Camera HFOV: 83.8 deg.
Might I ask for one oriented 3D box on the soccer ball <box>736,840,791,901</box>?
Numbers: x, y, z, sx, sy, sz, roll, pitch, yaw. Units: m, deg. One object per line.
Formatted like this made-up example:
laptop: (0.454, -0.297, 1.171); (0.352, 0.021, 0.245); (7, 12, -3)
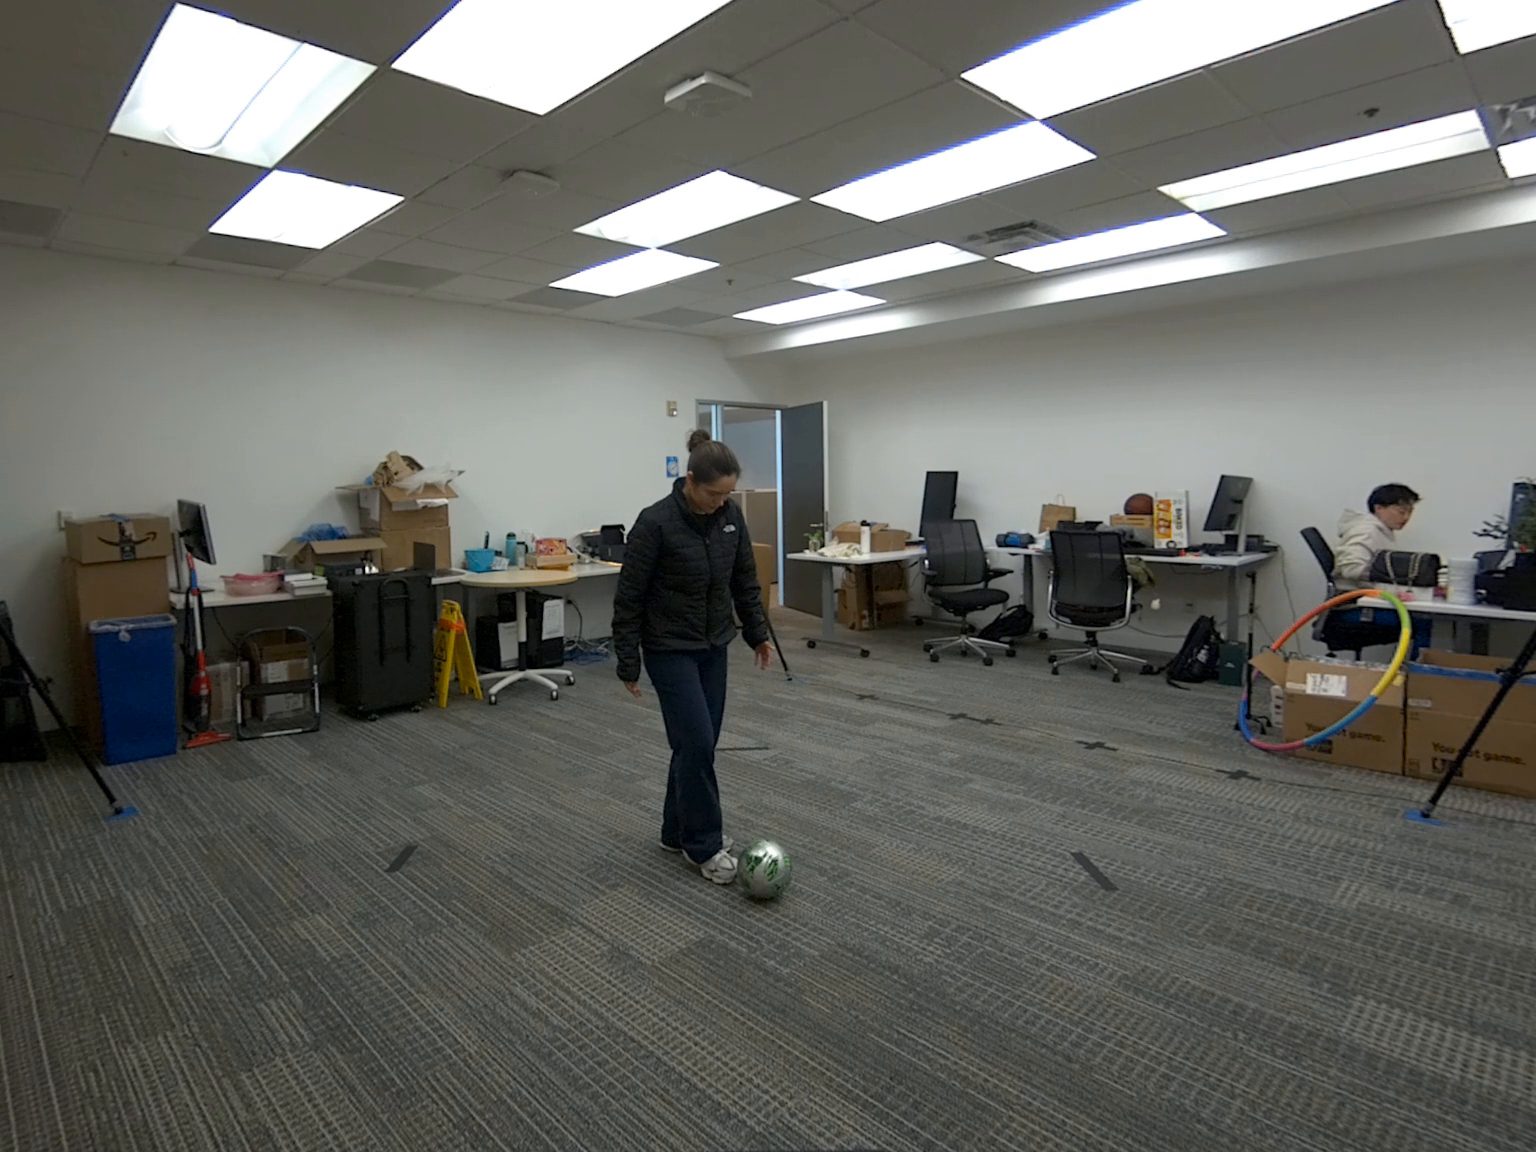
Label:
soccer ball: (-0.006, 0.975, 2.855); (0.187, 0.187, 0.188); (-1, 5, -2)
